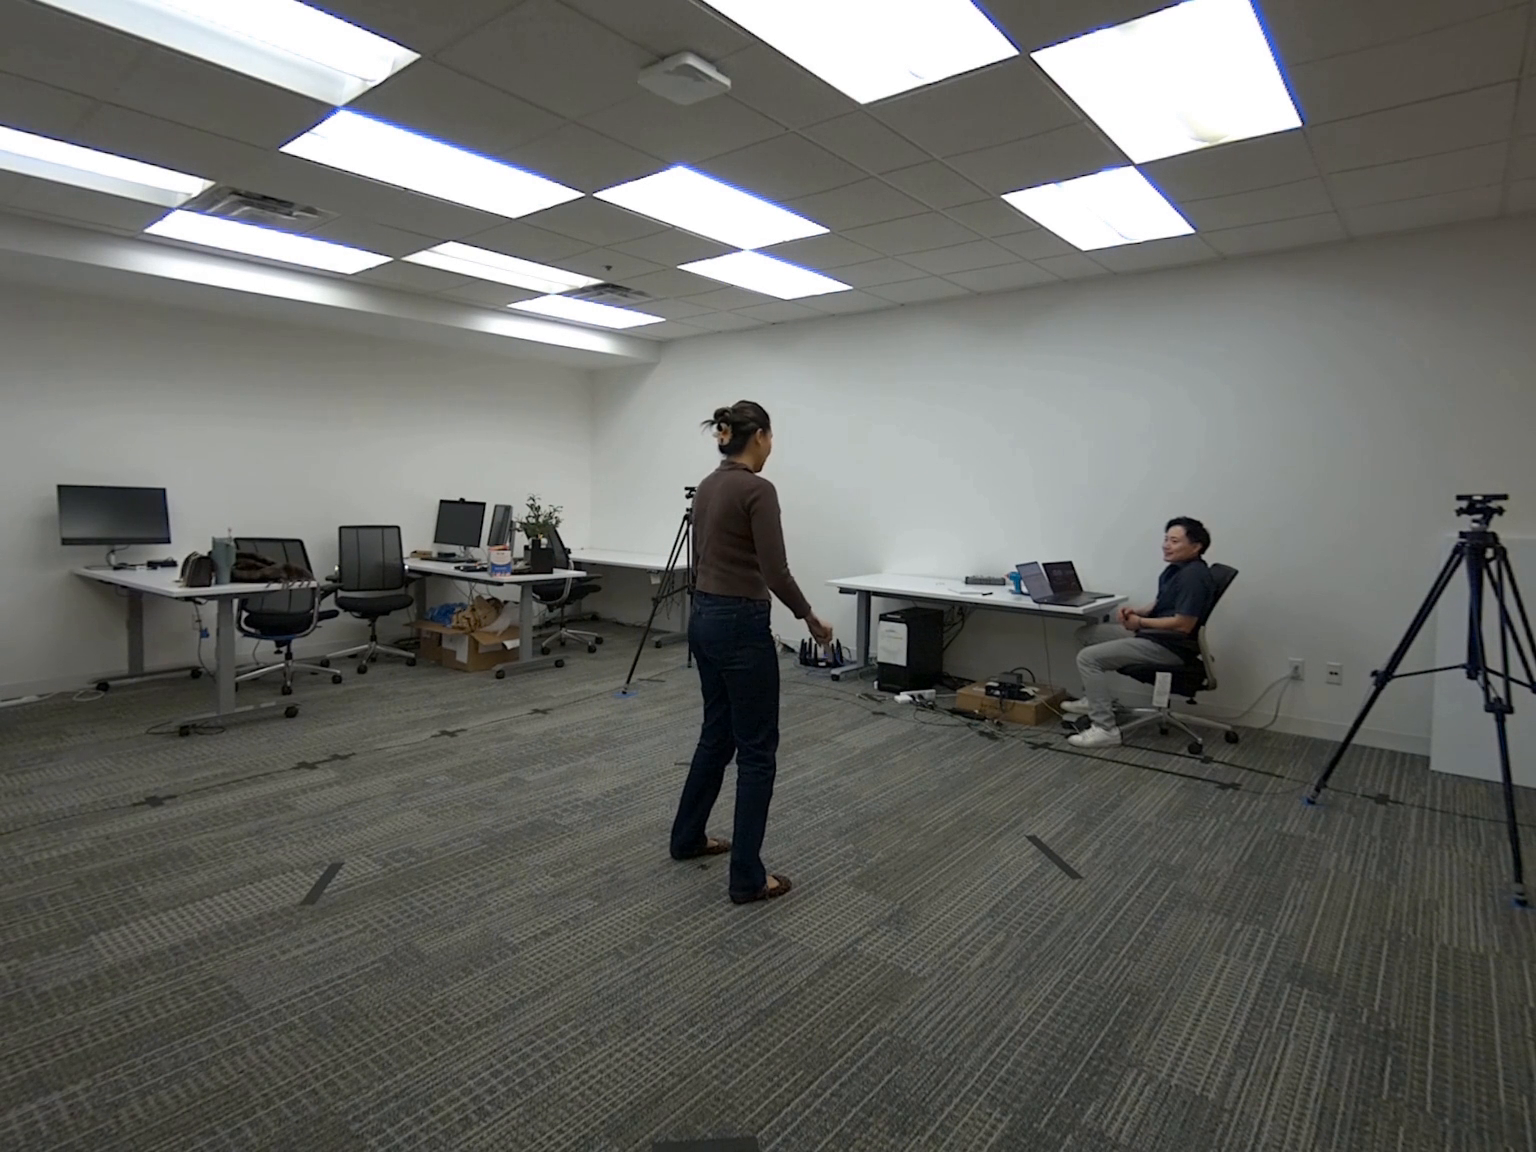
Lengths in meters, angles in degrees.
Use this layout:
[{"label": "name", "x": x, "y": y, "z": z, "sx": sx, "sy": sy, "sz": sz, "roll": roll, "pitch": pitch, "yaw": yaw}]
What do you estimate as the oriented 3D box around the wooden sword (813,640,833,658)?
[{"label": "wooden sword", "x": 0.227, "y": 0.282, "z": 3.320, "sx": 0.024, "sy": 0.051, "sz": 1.007, "roll": 15, "pitch": -10, "yaw": 6}]
